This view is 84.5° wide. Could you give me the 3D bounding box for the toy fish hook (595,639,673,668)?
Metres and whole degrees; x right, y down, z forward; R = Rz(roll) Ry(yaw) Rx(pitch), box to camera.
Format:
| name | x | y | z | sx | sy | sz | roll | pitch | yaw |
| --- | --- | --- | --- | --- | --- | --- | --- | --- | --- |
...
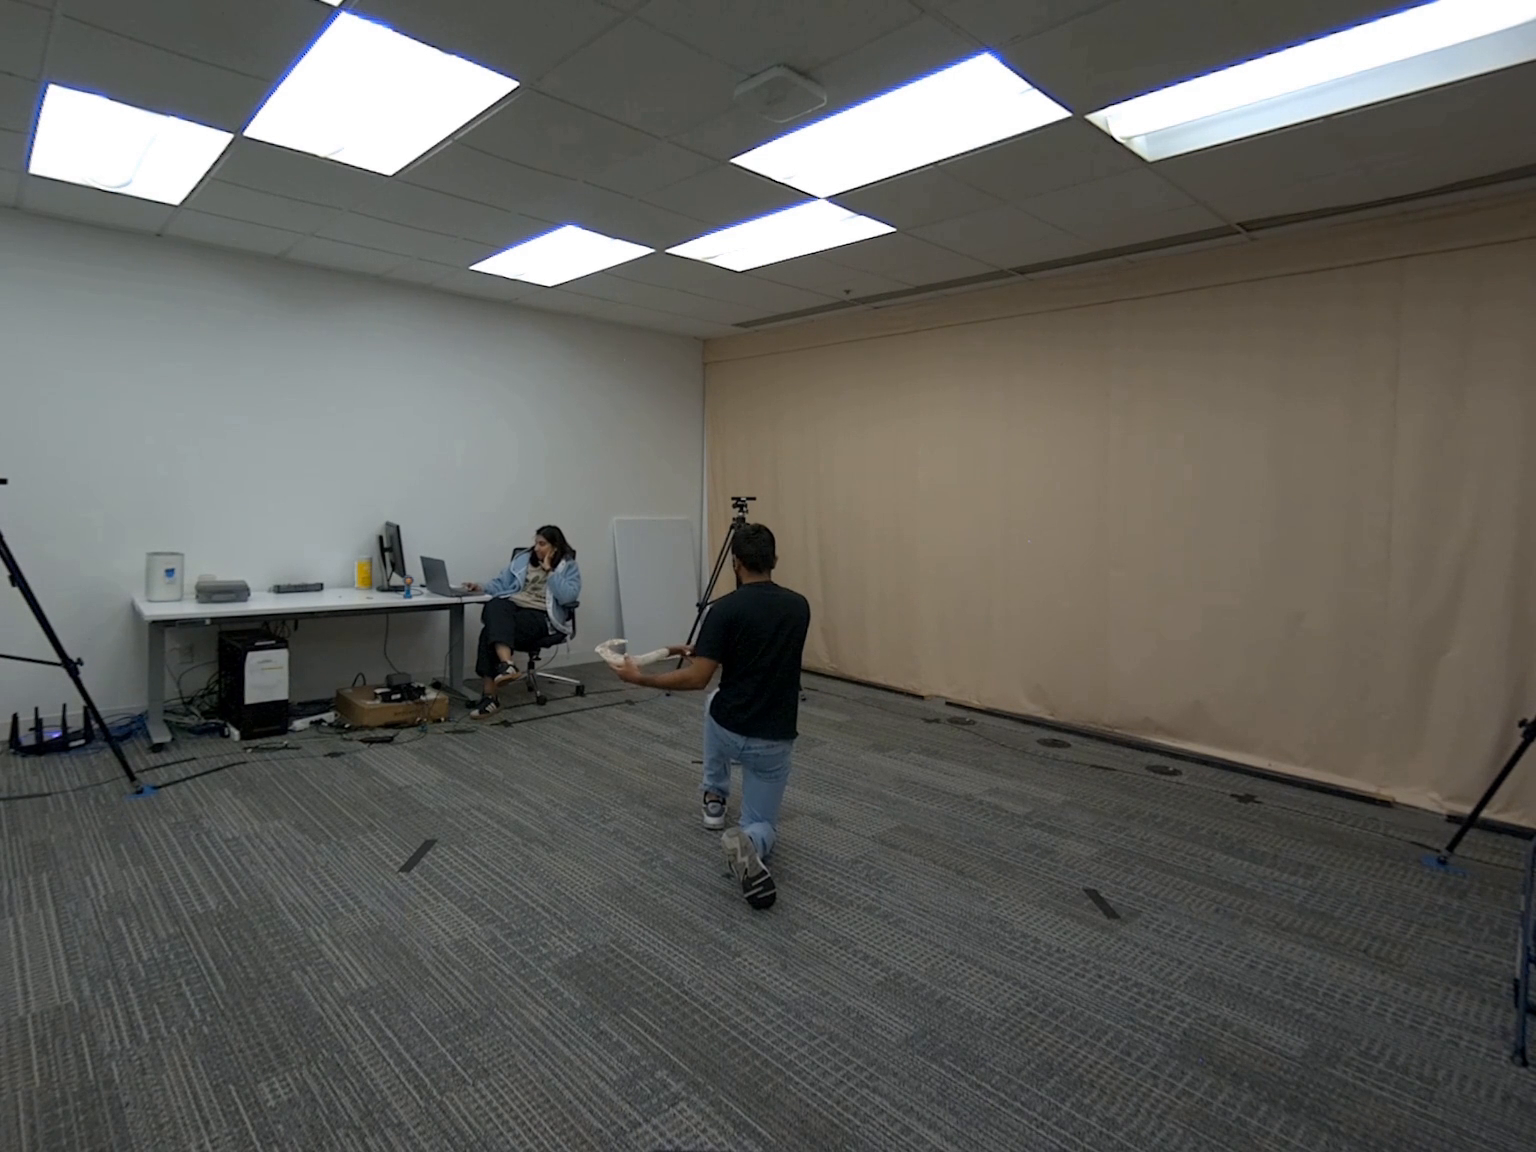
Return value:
| name | x | y | z | sx | sy | sz | roll | pitch | yaw |
| --- | --- | --- | --- | --- | --- | --- | --- | --- | --- |
| toy fish hook | -0.495 | 0.307 | 3.582 | 0.495 | 0.048 | 0.232 | -4 | 29 | -46 |
